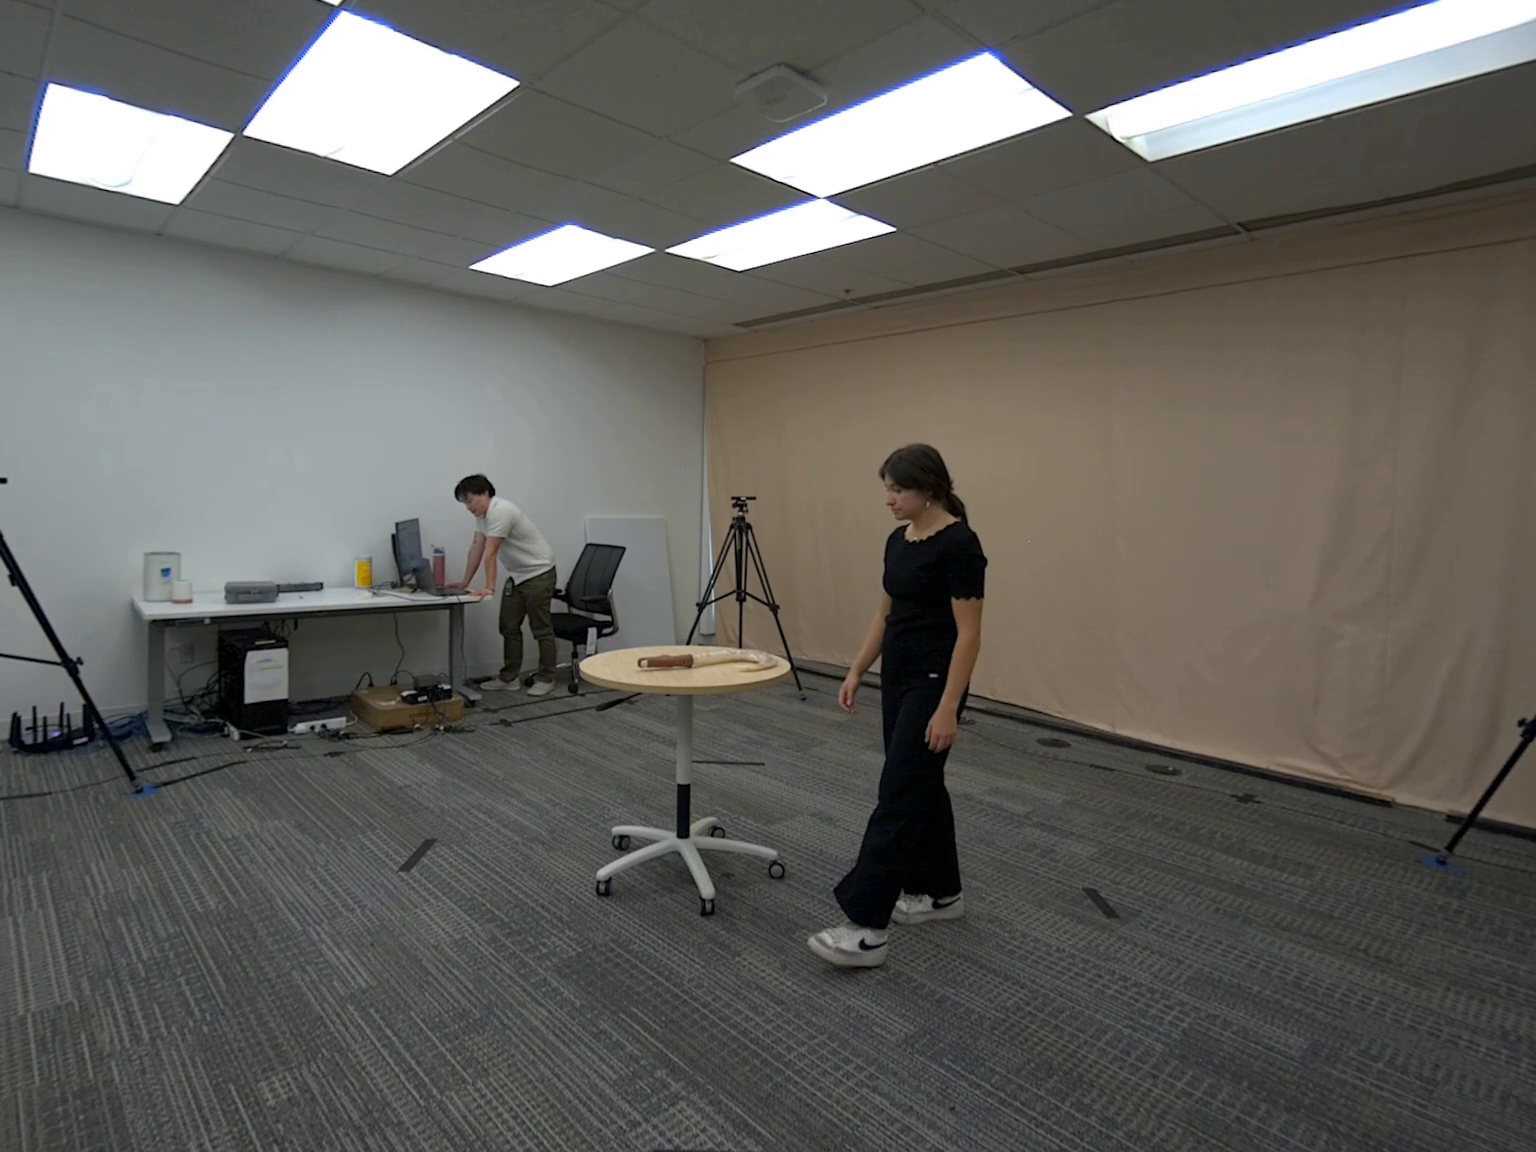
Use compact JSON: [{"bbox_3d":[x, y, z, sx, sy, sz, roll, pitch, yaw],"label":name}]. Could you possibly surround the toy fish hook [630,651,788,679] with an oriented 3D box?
[{"bbox_3d":[-0.210,0.308,2.979,0.497,0.048,0.228,-1,-1,-25],"label":"toy fish hook"}]
